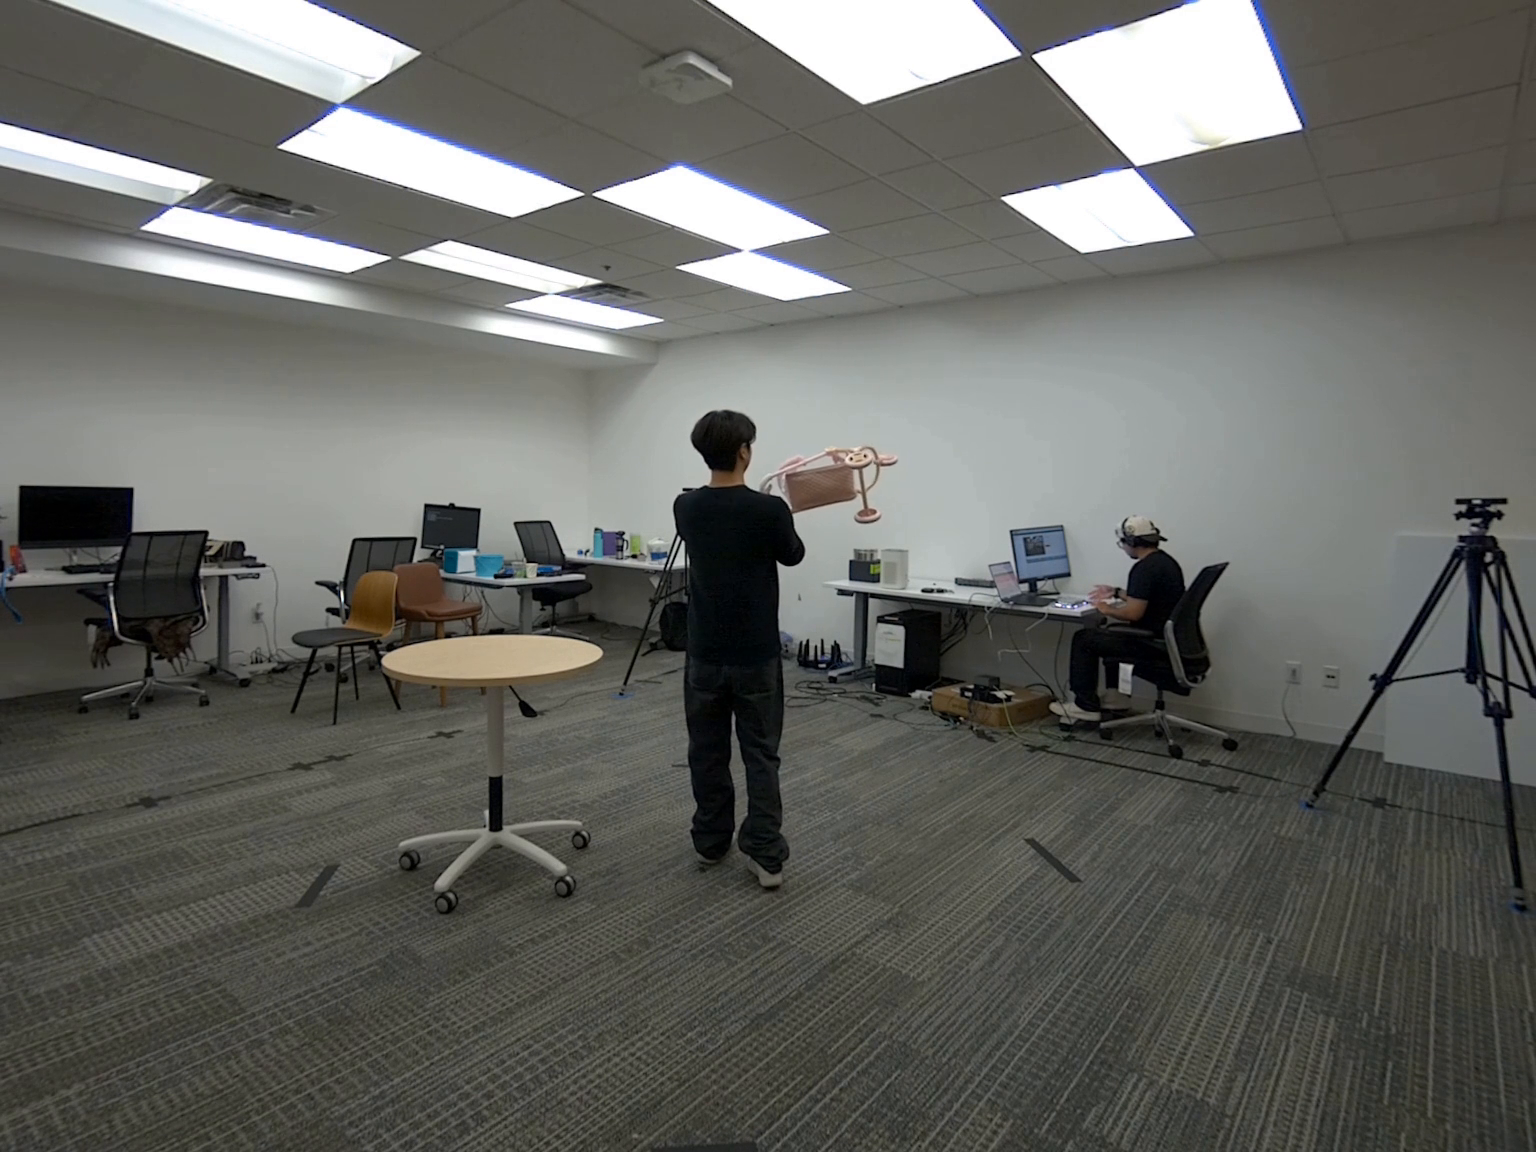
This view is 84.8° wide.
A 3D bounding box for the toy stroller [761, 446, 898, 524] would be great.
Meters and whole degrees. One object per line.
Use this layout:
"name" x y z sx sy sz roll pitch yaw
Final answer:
"toy stroller" 0.250 -0.402 3.533 0.545 0.272 0.346 -3 35 18
